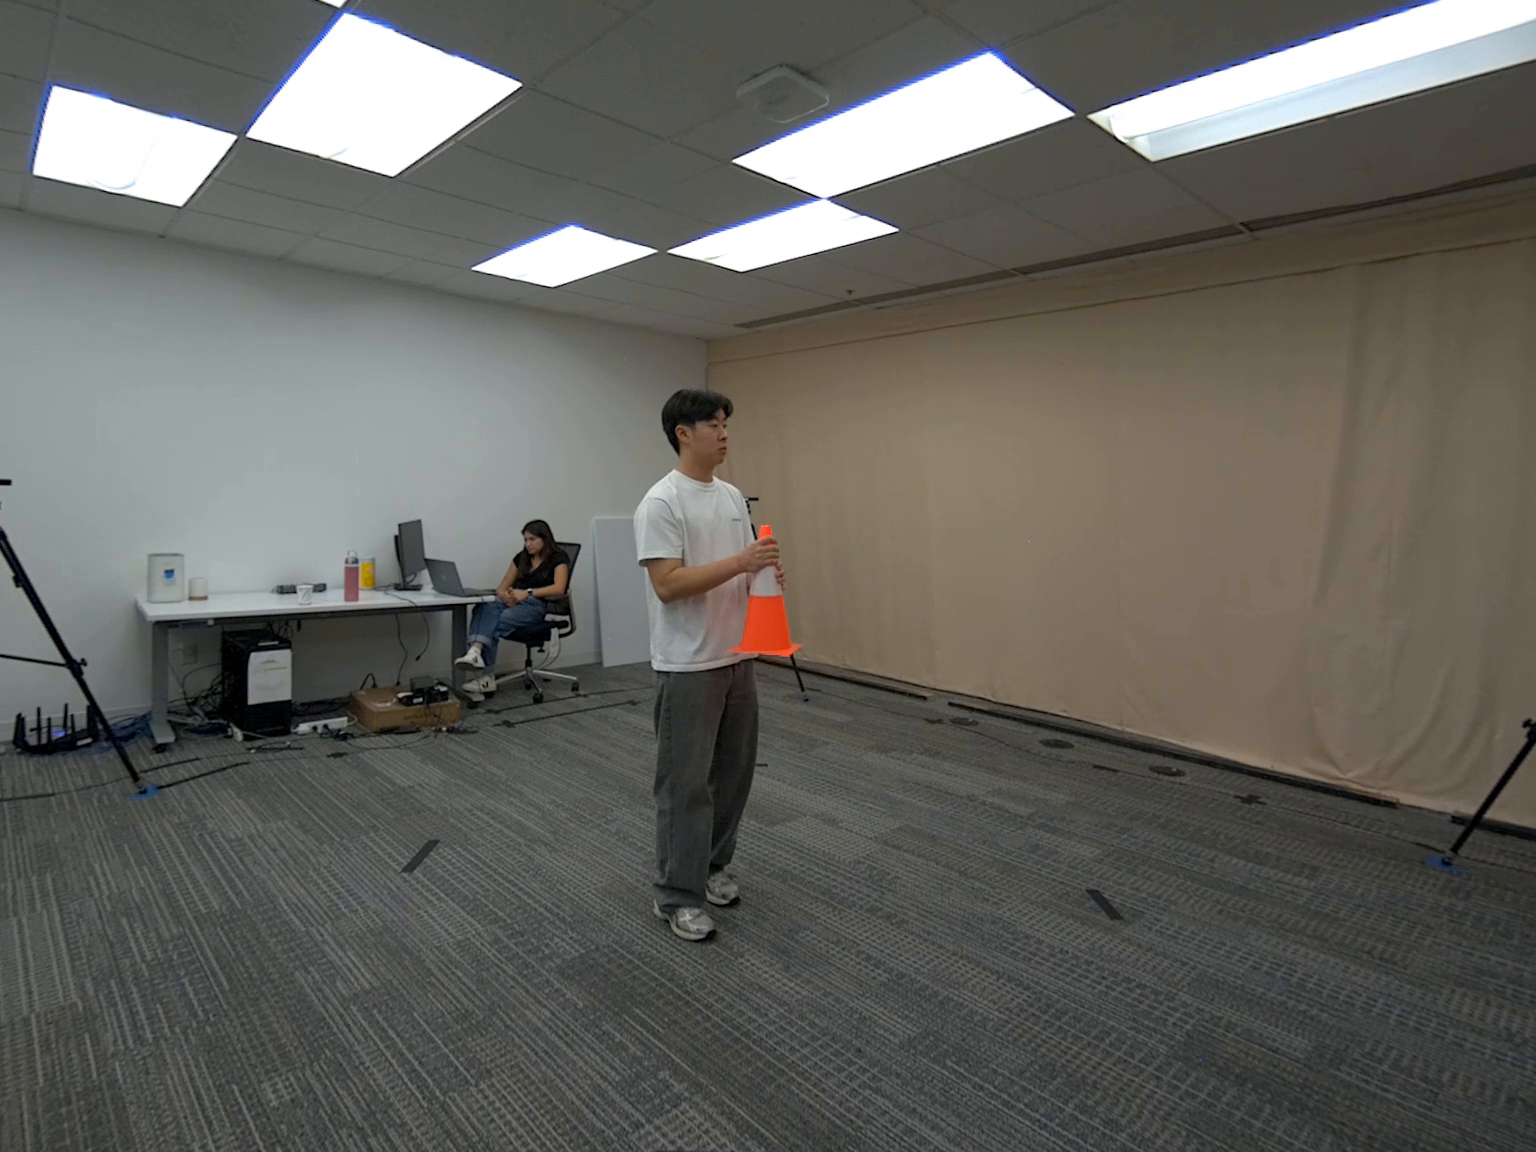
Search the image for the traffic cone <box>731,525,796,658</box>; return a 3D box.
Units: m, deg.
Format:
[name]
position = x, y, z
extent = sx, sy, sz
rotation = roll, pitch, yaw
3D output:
[traffic cone]
position = -0.036, 0.043, 2.605
extent = 0.201, 0.383, 0.207
rotation = -4, 1, -28
